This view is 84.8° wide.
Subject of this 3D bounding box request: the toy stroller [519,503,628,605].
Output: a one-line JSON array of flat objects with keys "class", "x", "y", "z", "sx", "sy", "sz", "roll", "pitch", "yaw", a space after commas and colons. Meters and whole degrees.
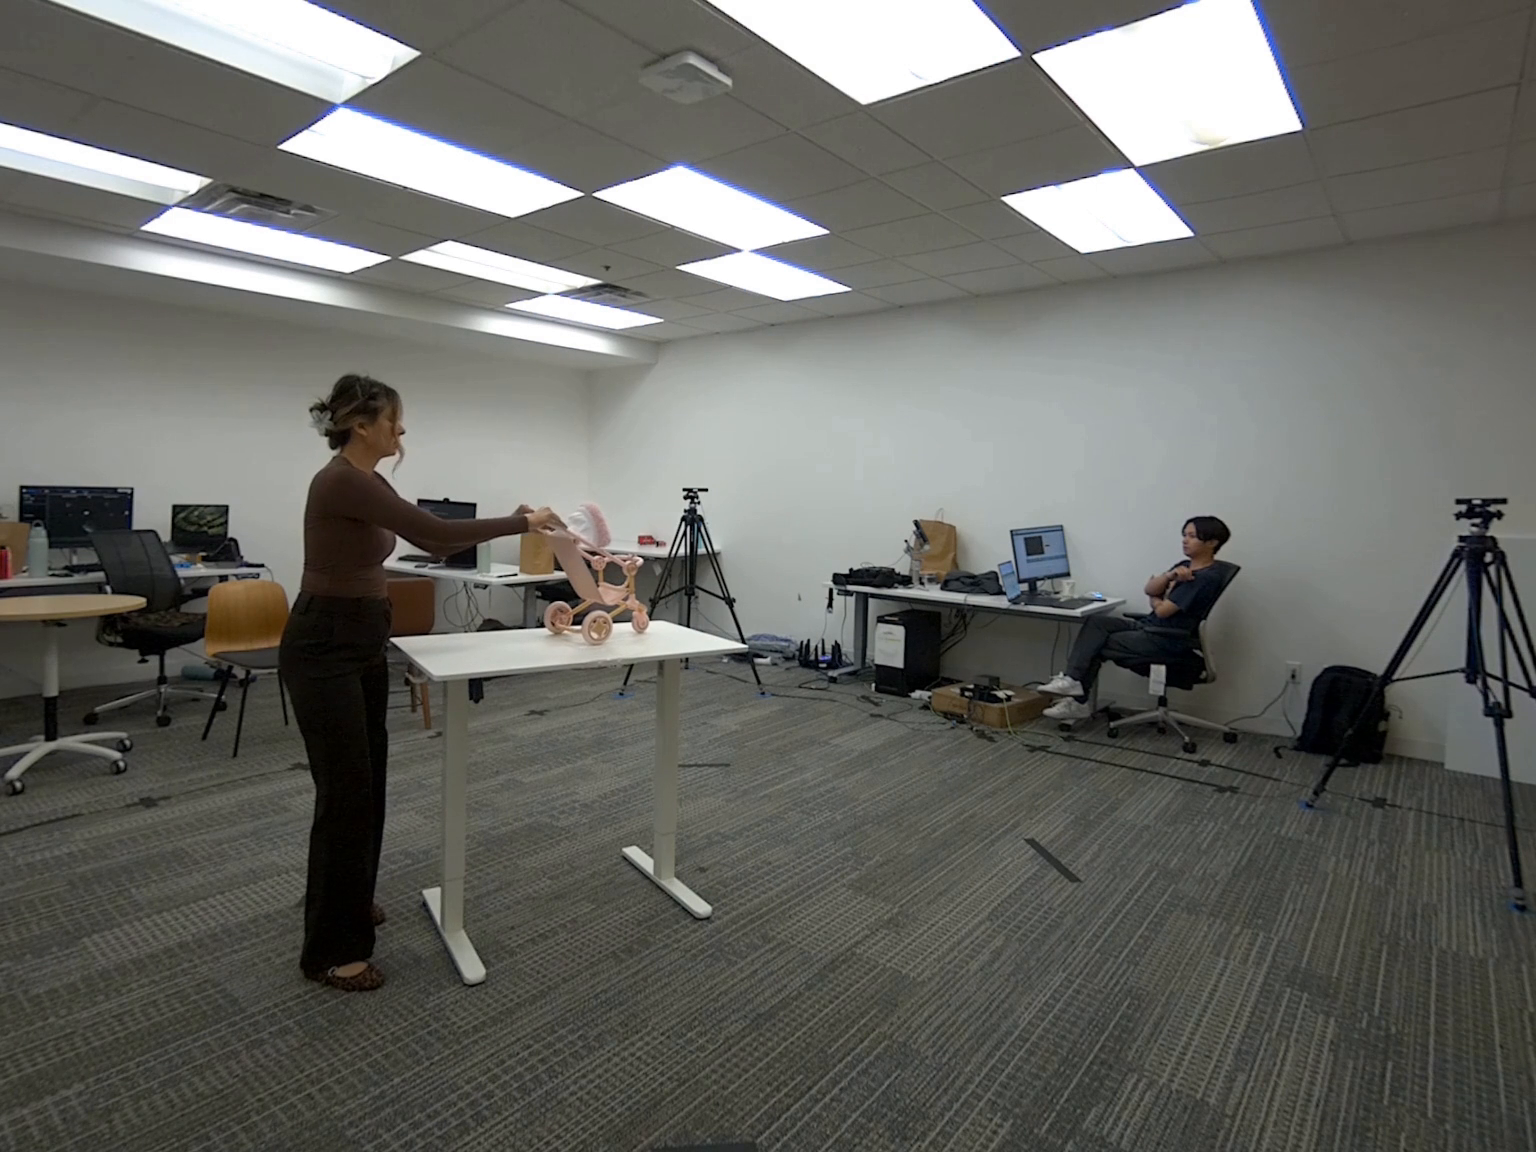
[{"class": "toy stroller", "x": -0.598, "y": -0.014, "z": 2.842, "sx": 0.335, "sy": 0.526, "sz": 0.291, "roll": -22, "pitch": 18, "yaw": -35}]
